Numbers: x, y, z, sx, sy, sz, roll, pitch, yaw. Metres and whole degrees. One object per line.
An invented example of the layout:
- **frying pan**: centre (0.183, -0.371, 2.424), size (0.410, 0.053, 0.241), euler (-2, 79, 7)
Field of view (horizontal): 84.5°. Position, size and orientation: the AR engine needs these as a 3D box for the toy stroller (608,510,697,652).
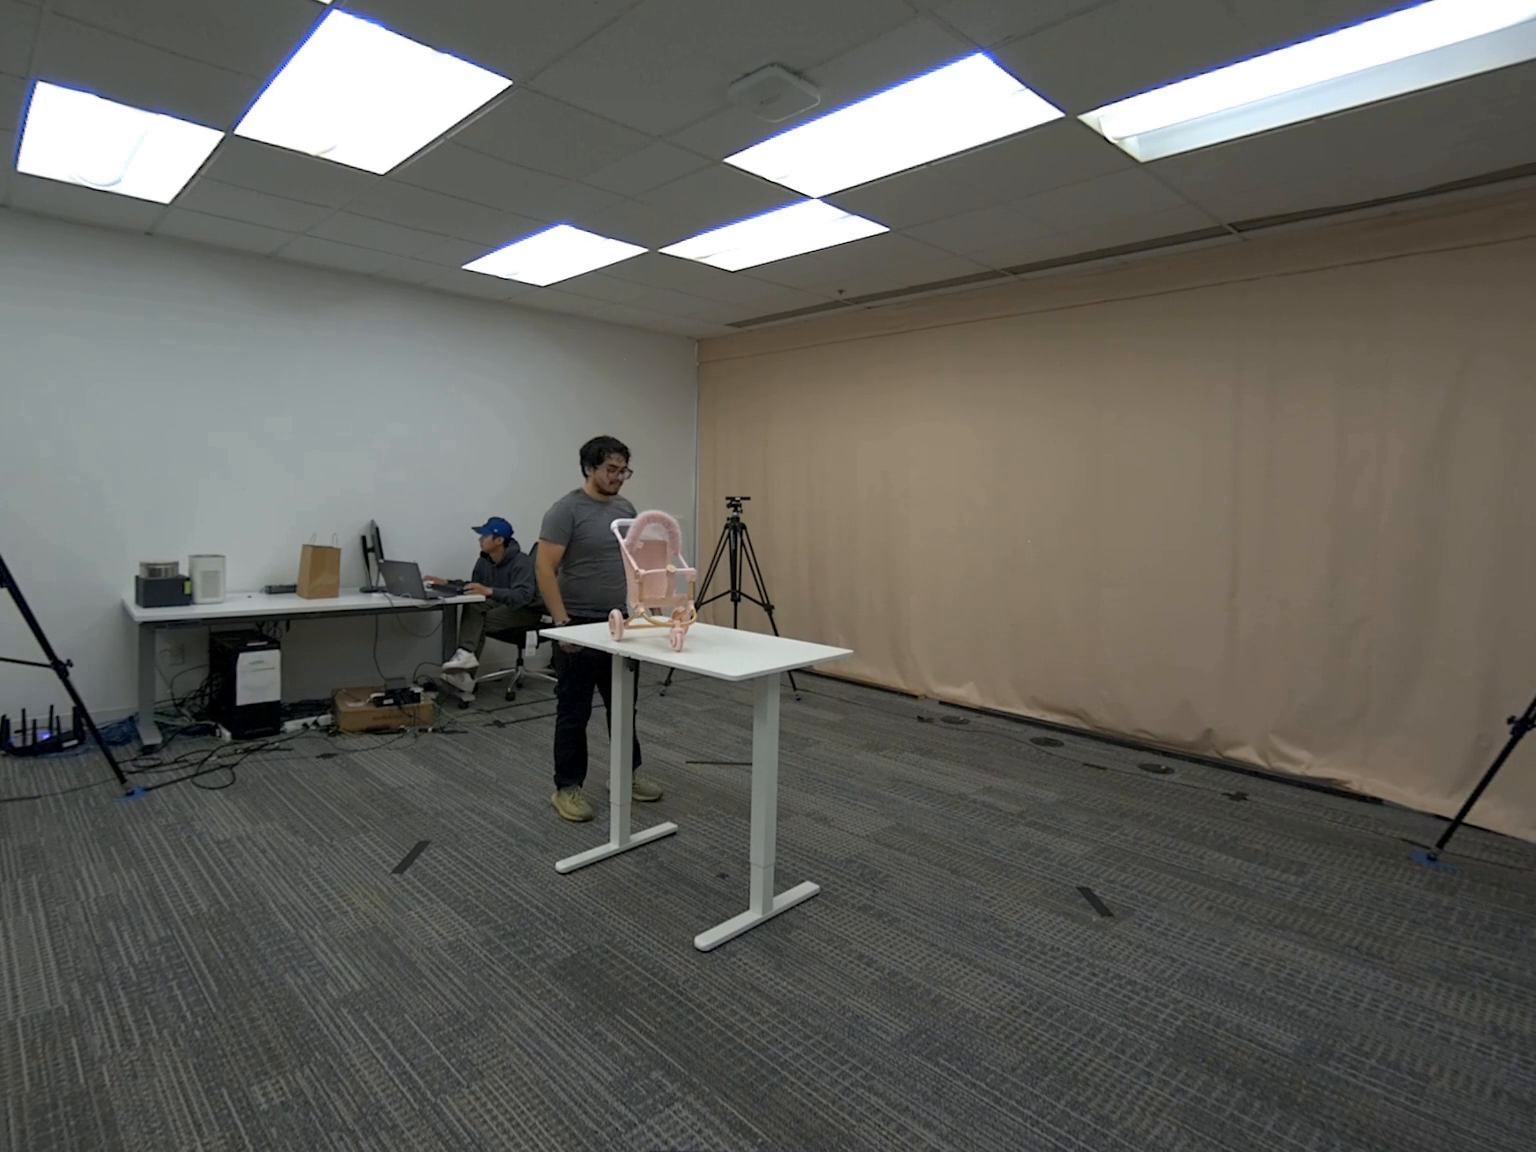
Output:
- **toy stroller**: centre (-0.397, 0.011, 2.942), size (0.276, 0.540, 0.344), euler (0, -13, -25)
